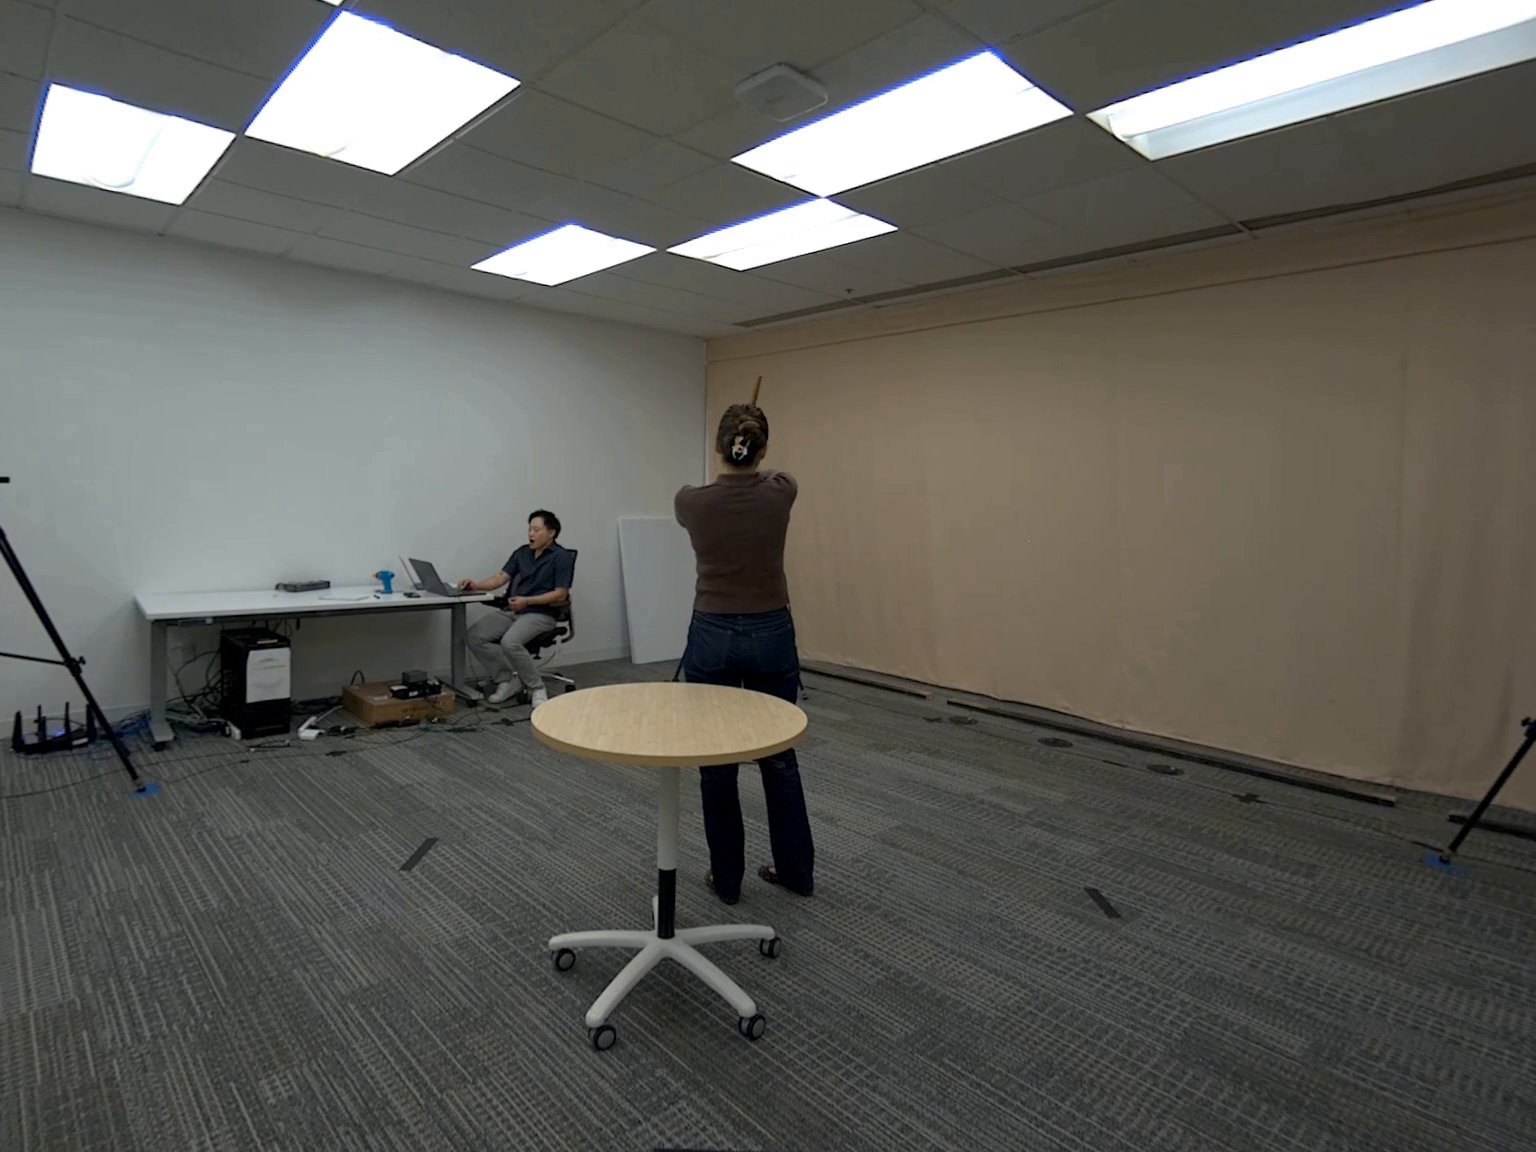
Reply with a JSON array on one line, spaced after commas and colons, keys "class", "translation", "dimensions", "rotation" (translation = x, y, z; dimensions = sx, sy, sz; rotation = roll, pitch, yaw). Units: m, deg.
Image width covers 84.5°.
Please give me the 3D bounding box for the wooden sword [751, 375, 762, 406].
[{"class": "wooden sword", "translation": [-0.152, -0.315, 3.401], "dimensions": [0.050, 1.025, 0.024], "rotation": [12, 0, -19]}]
